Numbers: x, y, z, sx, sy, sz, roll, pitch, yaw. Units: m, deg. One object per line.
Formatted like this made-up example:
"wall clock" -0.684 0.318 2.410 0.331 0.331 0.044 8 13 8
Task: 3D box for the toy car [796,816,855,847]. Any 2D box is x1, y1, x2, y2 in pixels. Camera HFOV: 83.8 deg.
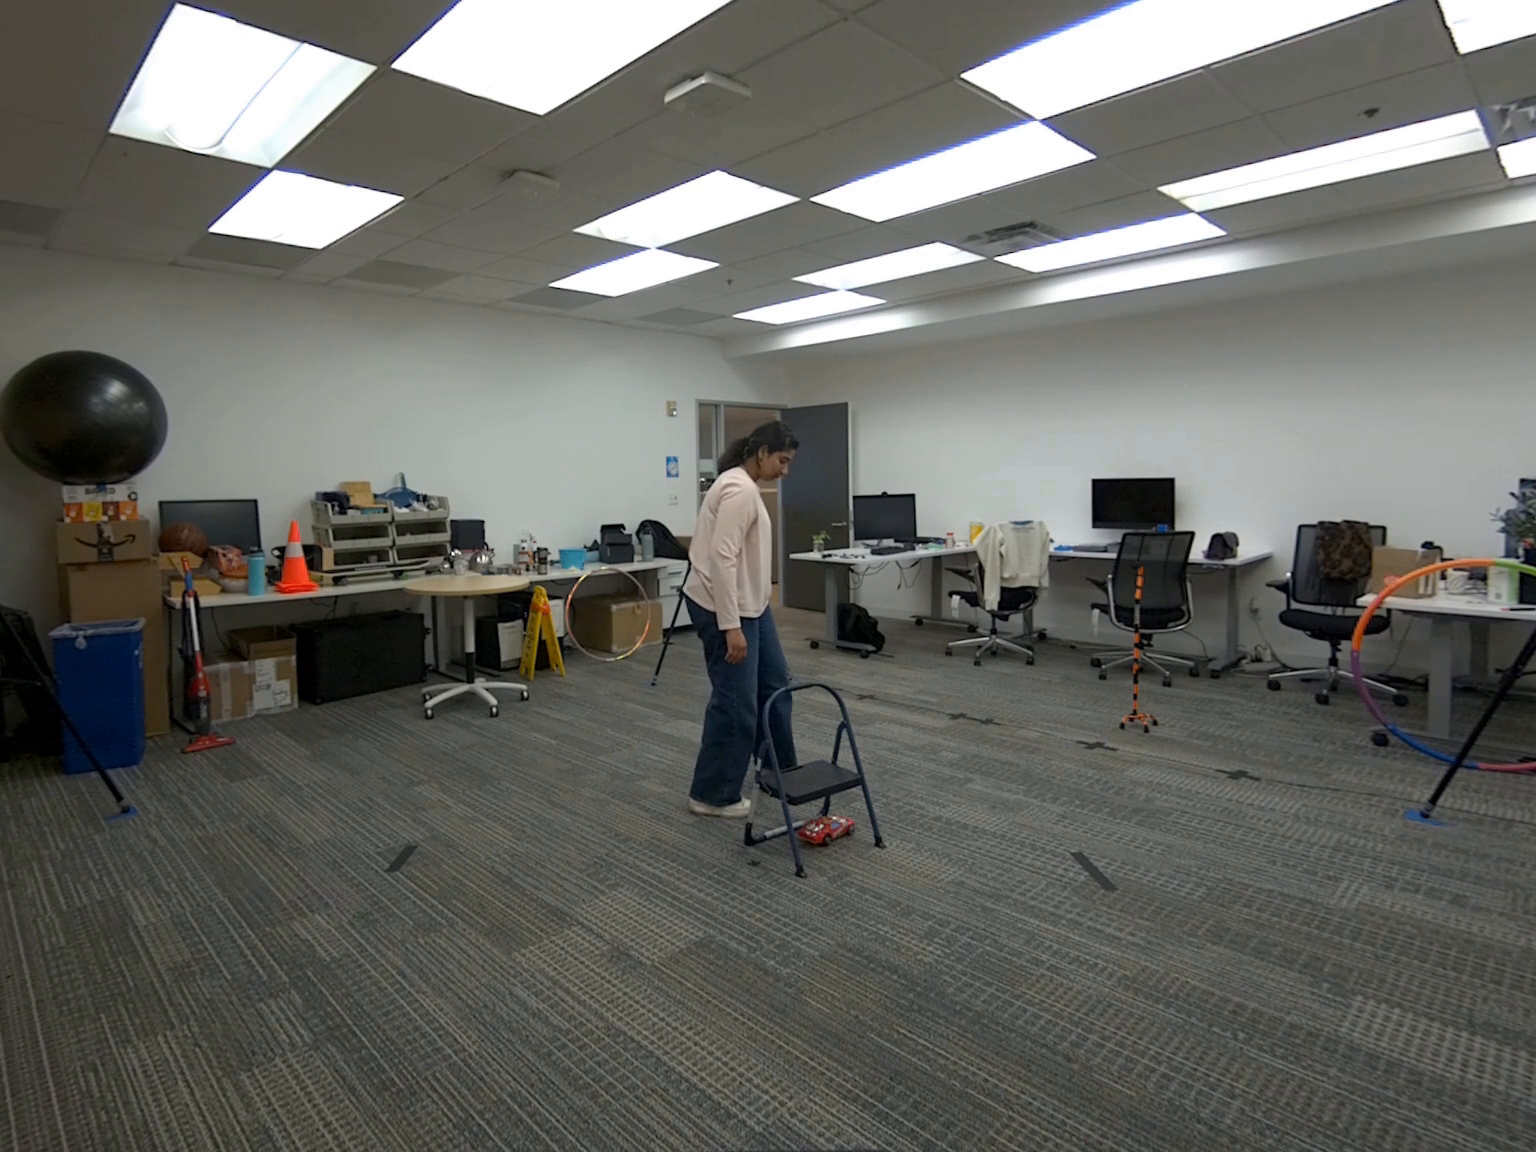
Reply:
"toy car" 0.214 0.981 3.309 0.246 0.083 0.134 9 -2 -43
